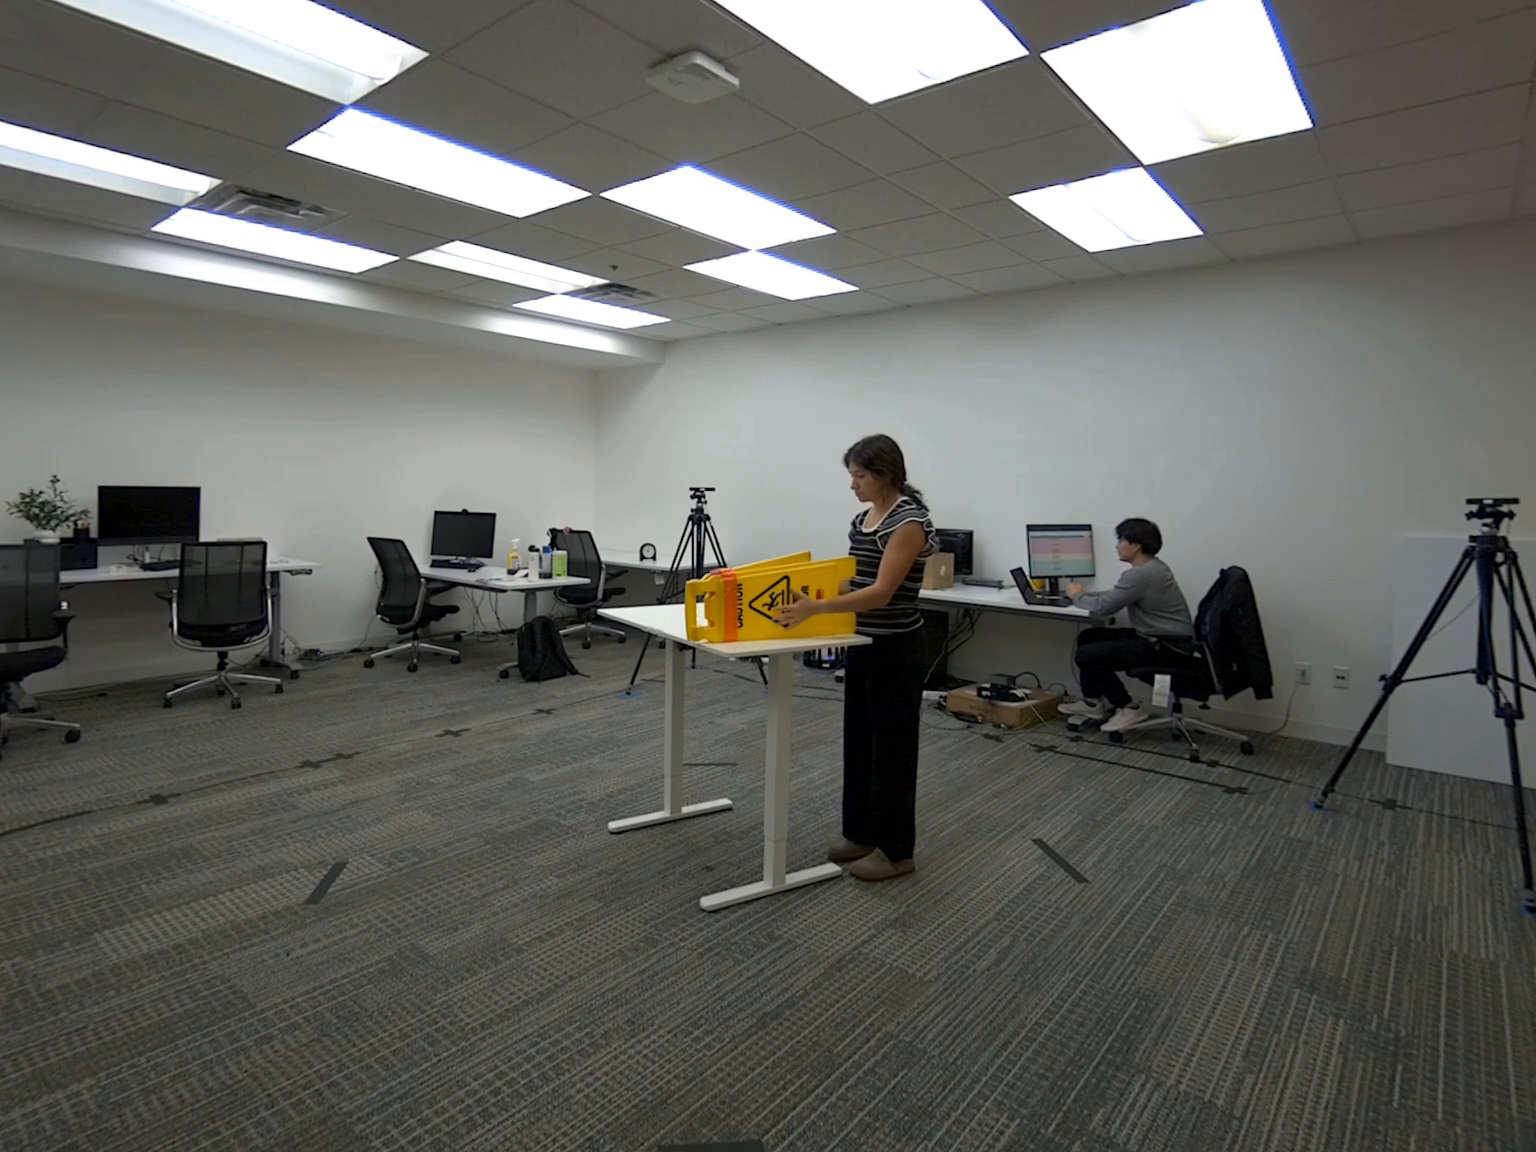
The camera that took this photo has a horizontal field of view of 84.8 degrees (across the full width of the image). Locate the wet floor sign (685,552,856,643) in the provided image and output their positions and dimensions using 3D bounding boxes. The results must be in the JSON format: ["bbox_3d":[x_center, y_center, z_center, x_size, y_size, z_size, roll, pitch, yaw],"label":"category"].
[{"bbox_3d":[-0.020,0.085,2.936,0.628,0.281,0.299,-7,8,-37],"label":"wet floor sign"}]
